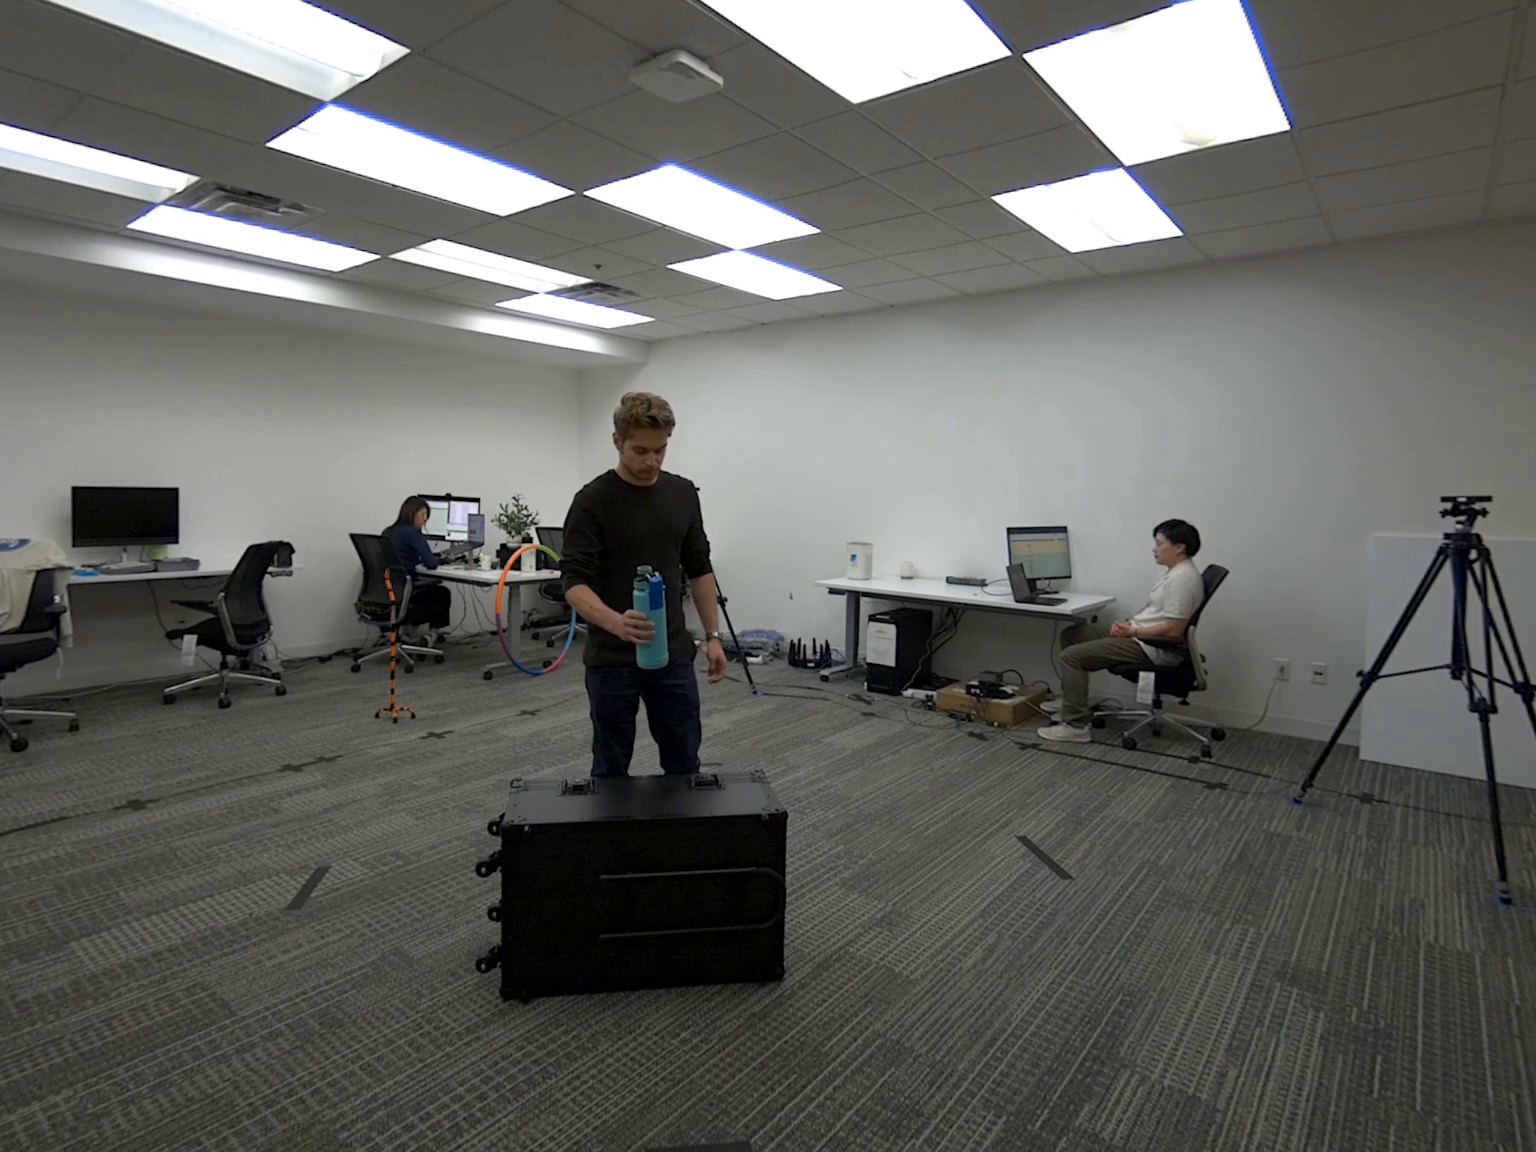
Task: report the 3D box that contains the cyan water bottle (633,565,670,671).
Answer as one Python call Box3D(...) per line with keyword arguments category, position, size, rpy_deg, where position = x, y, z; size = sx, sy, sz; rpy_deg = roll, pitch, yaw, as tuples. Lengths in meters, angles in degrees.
Box3D(category="cyan water bottle", position=(-0.345, 0.112, 2.409), size=(0.092, 0.279, 0.094), rpy_deg=(1, 15, -2))
